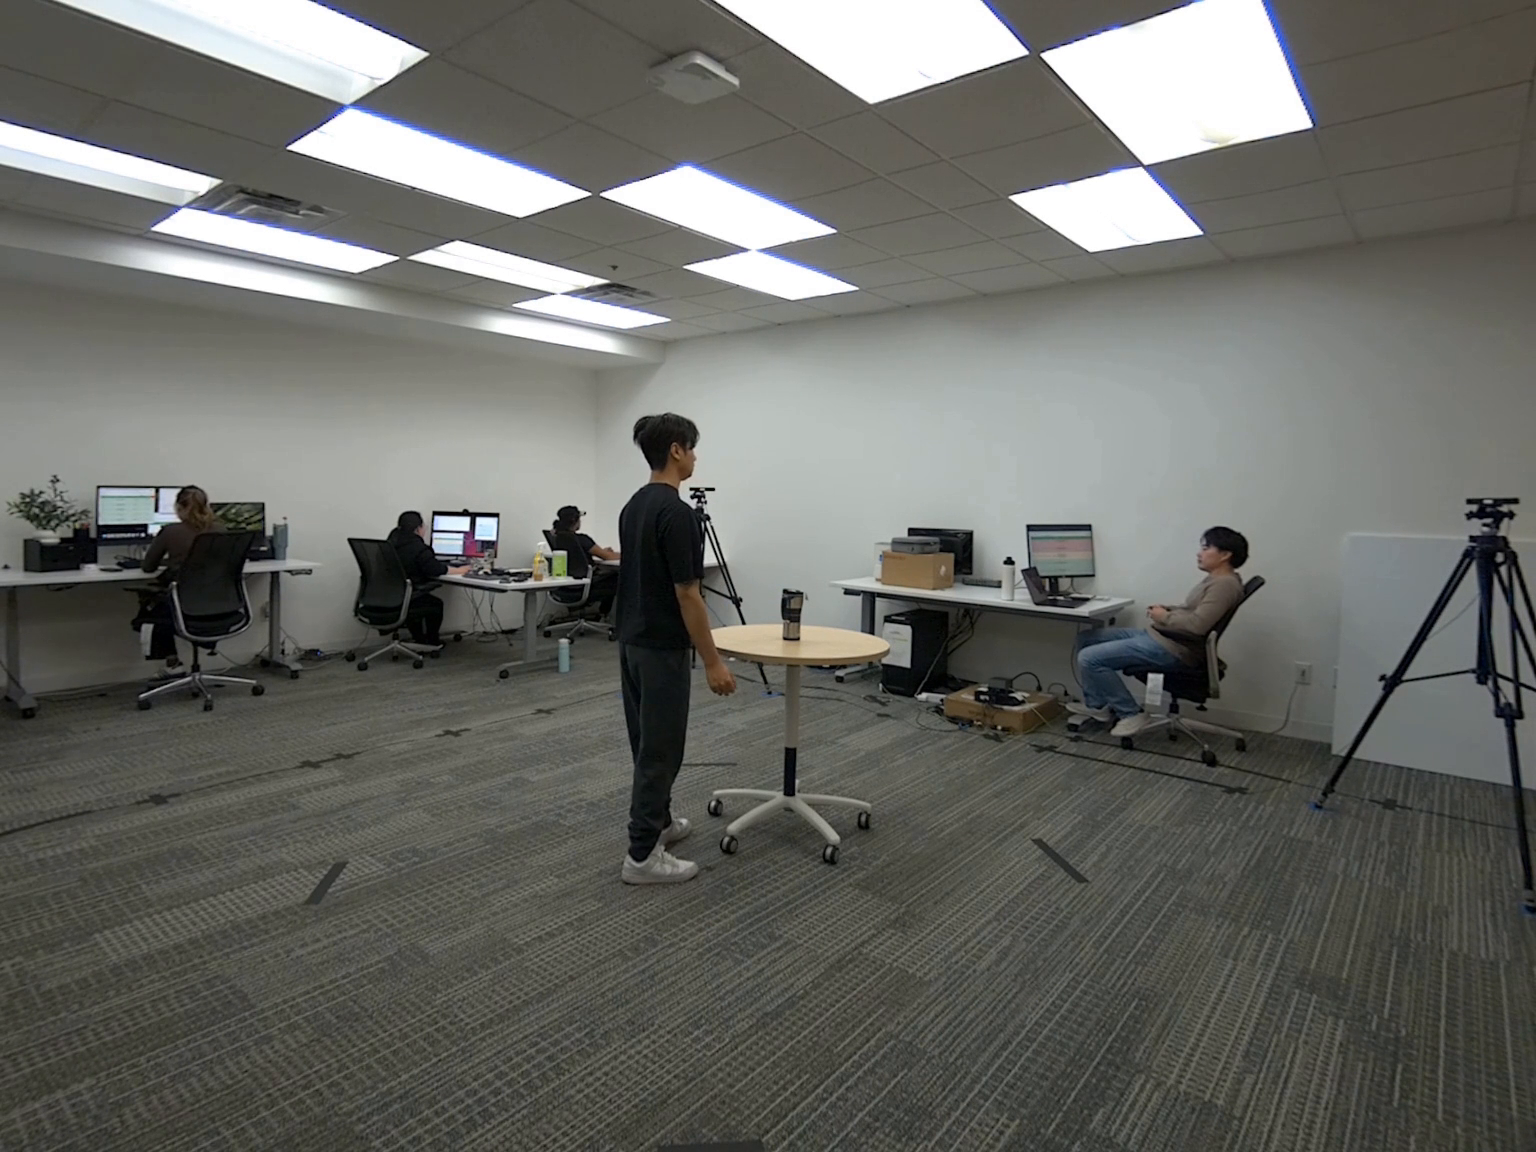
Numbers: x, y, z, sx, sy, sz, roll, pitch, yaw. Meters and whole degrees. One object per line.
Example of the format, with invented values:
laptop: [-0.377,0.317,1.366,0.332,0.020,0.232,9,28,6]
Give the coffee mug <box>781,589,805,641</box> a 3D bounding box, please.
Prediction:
coffee mug: [0.070,0.157,3.438,0.118,0.202,0.091,3,6,-40]
